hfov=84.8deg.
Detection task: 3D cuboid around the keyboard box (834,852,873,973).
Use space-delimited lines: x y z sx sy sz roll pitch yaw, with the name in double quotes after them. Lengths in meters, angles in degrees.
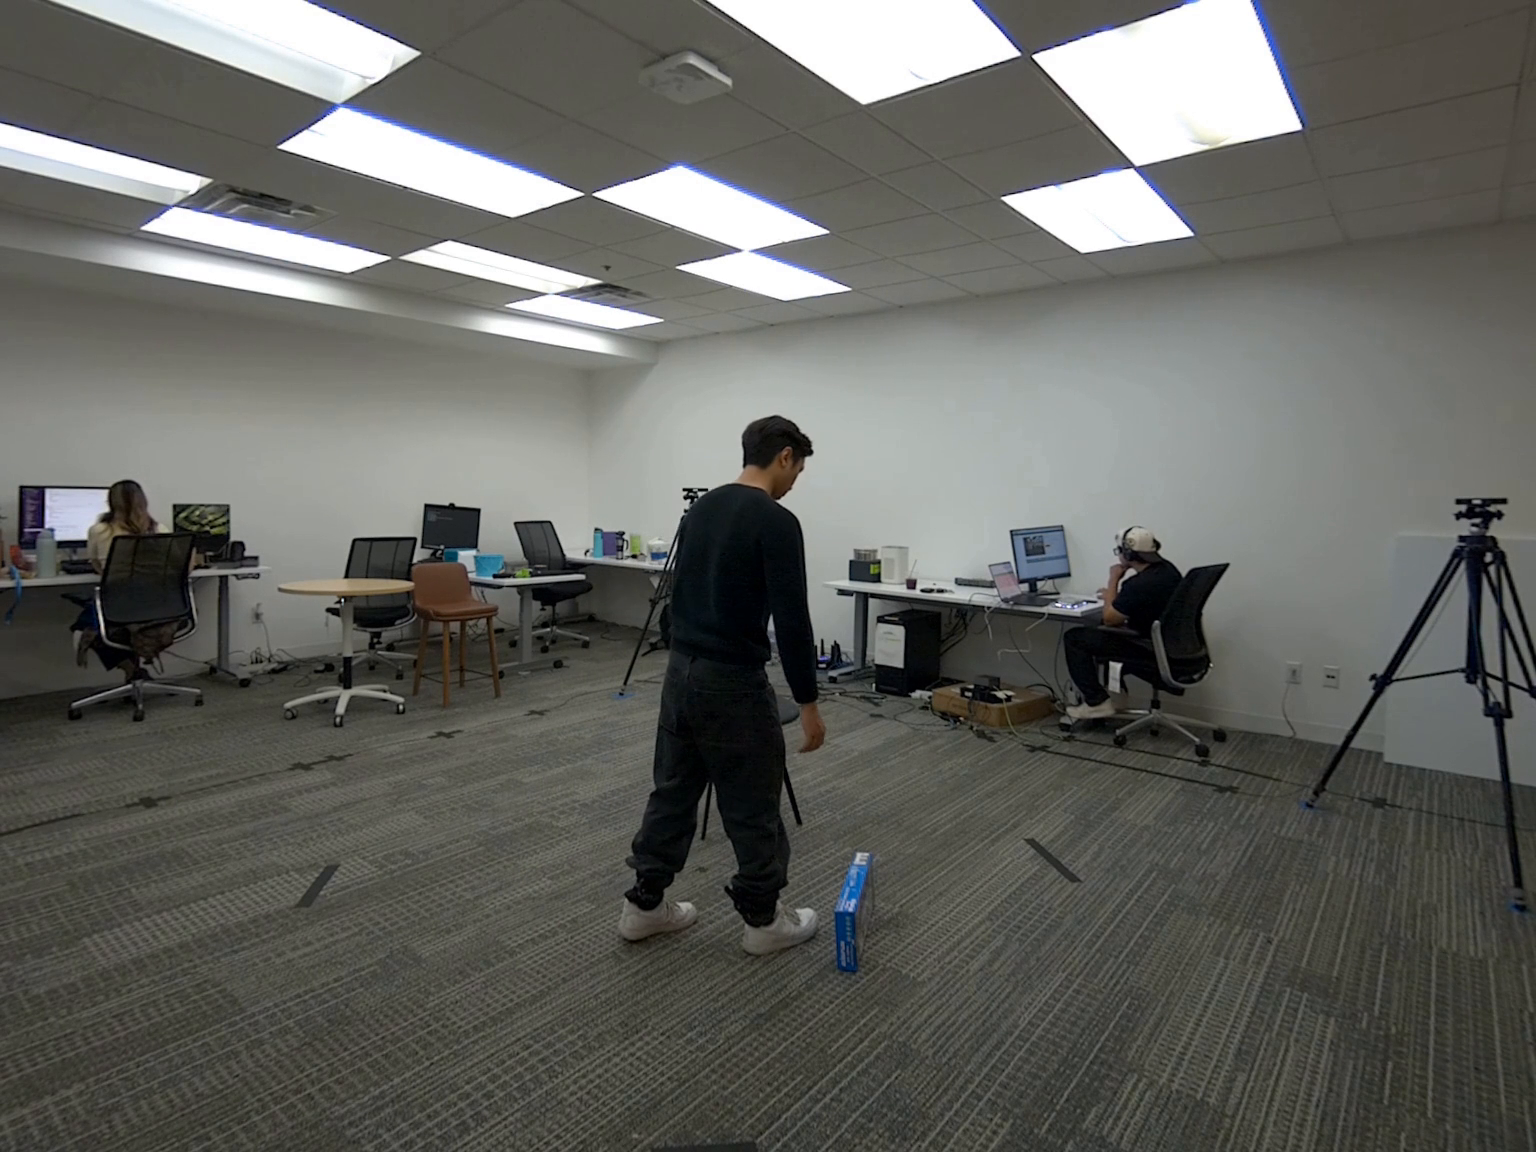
0.273 1.035 2.668 0.060 0.175 0.432 -3 4 13 "keyboard box"
